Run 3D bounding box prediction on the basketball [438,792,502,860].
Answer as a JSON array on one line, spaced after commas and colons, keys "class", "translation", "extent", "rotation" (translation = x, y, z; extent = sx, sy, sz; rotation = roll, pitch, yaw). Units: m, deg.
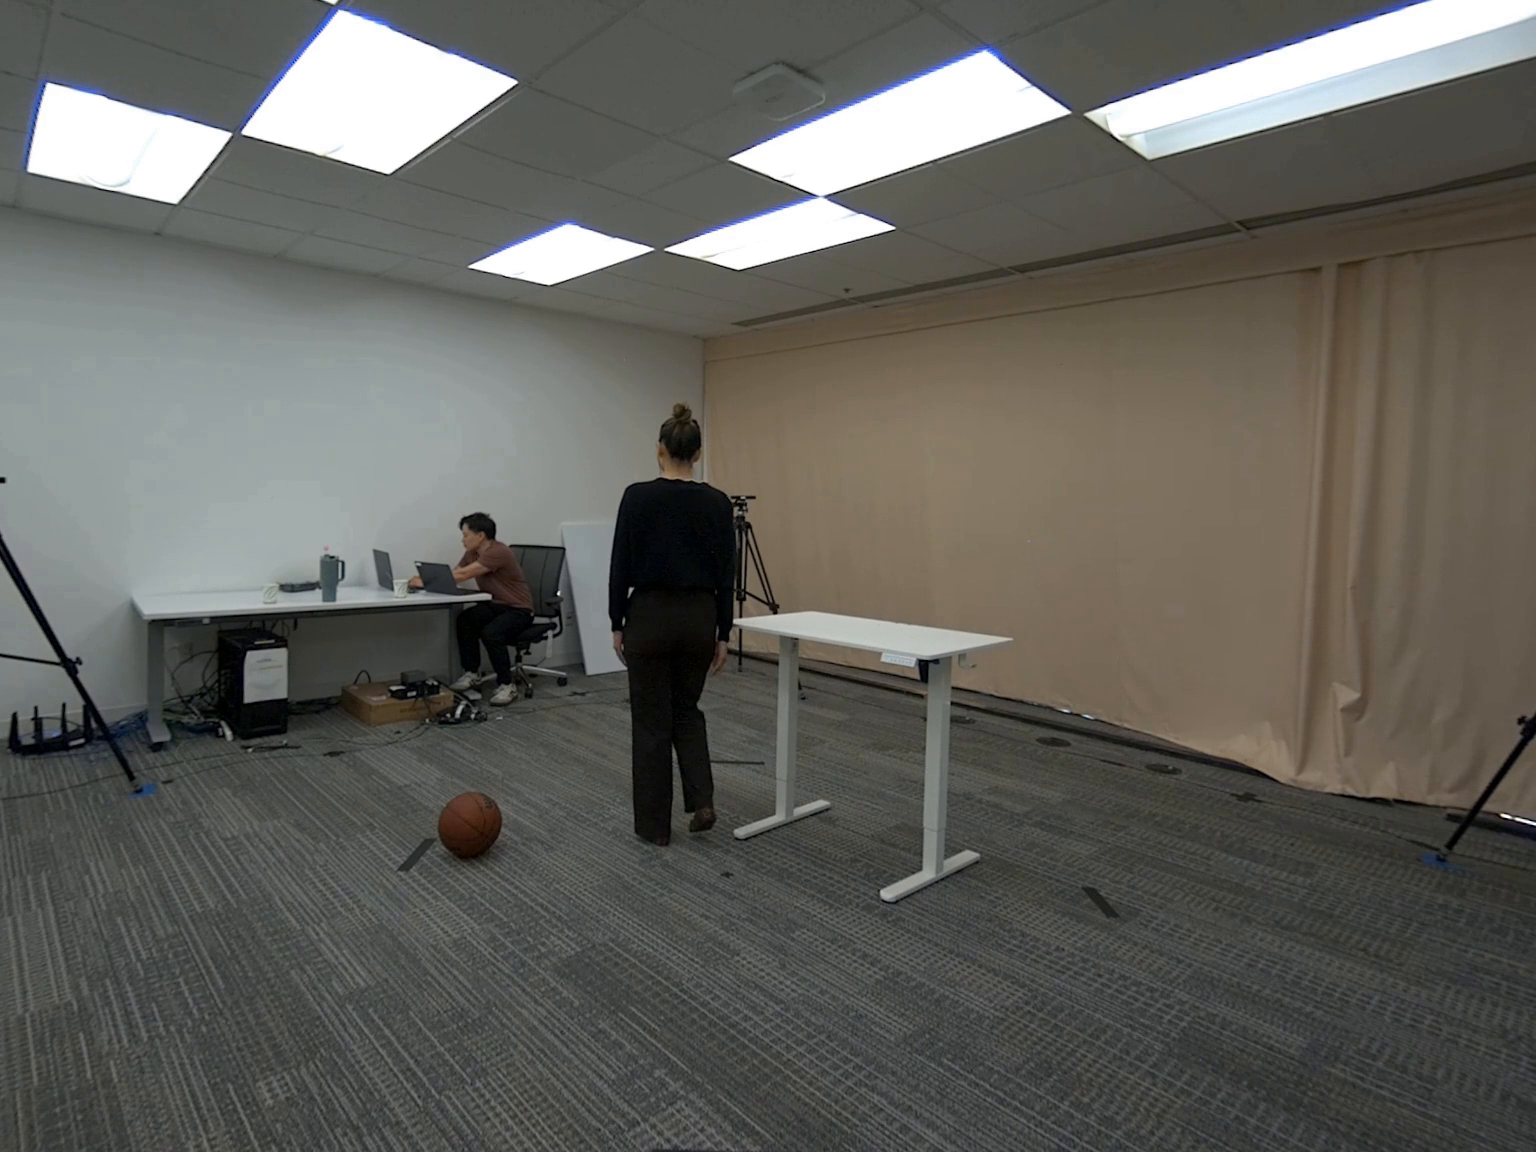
[{"class": "basketball", "translation": [-1.157, 0.955, 3.232], "extent": [0.236, 0.235, 0.237], "rotation": [1, 4, -1]}]
